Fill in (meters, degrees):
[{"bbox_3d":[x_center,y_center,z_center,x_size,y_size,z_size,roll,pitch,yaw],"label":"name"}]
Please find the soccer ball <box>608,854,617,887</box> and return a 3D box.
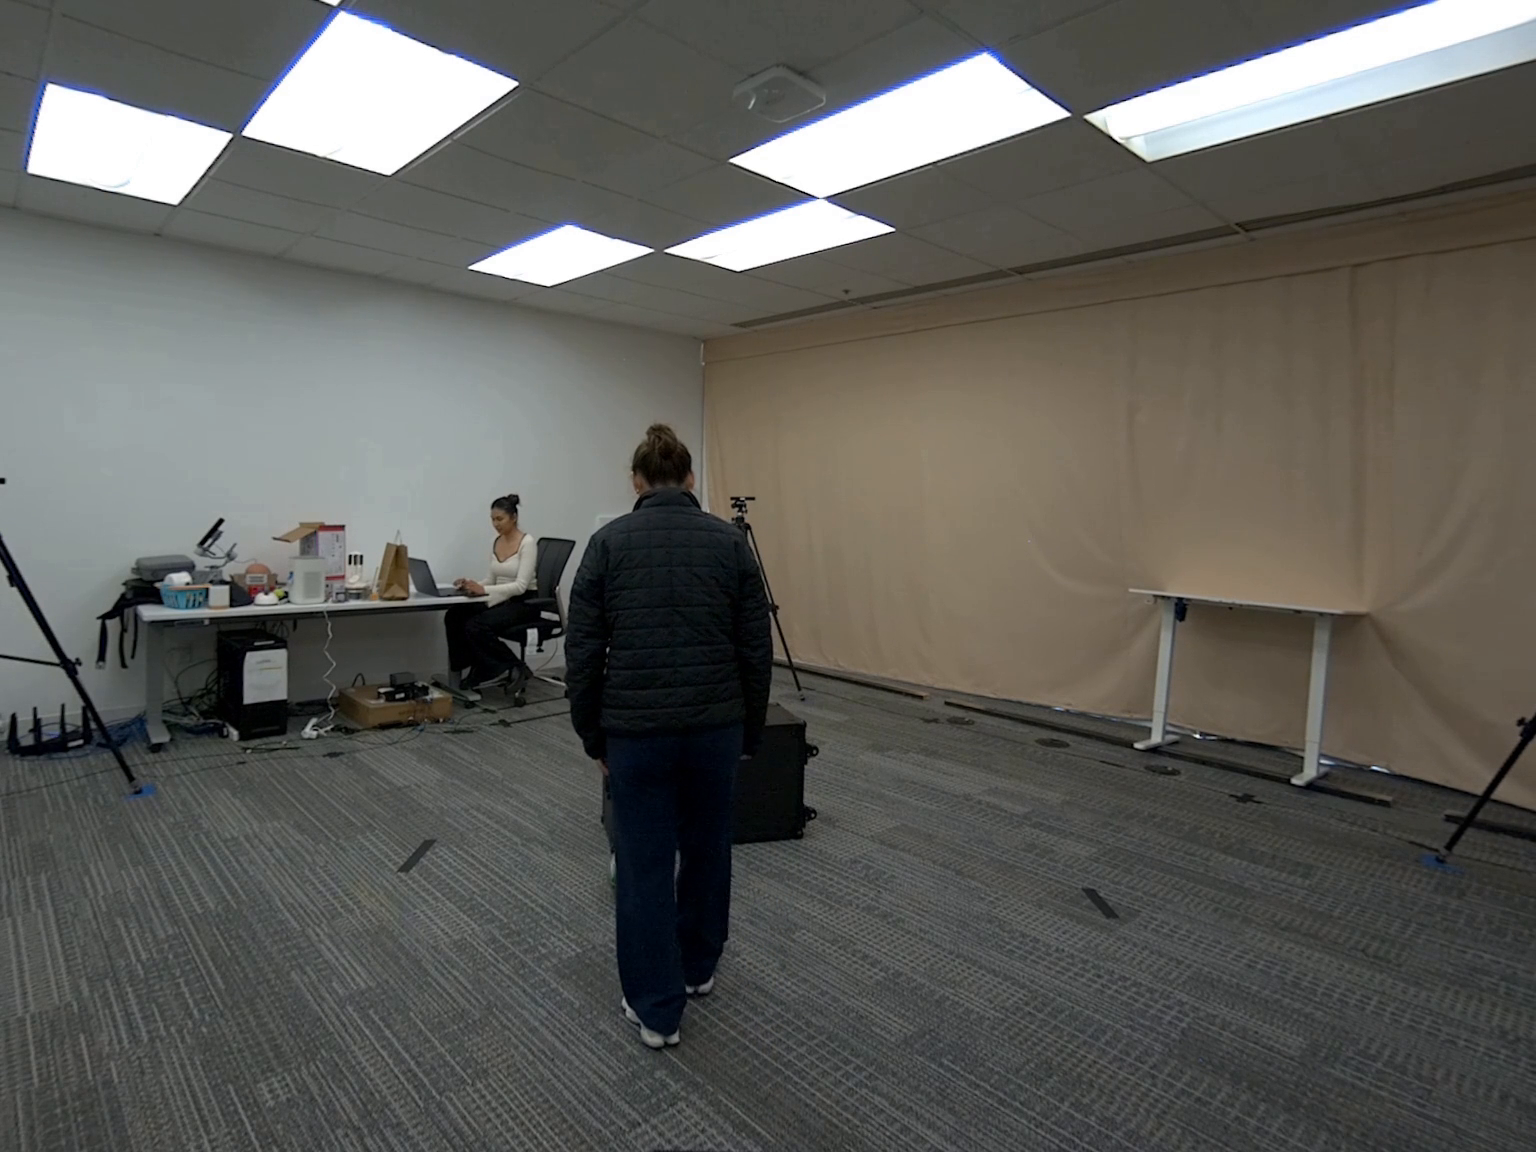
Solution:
[{"bbox_3d":[-0.476,1.033,2.908,0.187,0.187,0.188,1,4,-1],"label":"soccer ball"}]
